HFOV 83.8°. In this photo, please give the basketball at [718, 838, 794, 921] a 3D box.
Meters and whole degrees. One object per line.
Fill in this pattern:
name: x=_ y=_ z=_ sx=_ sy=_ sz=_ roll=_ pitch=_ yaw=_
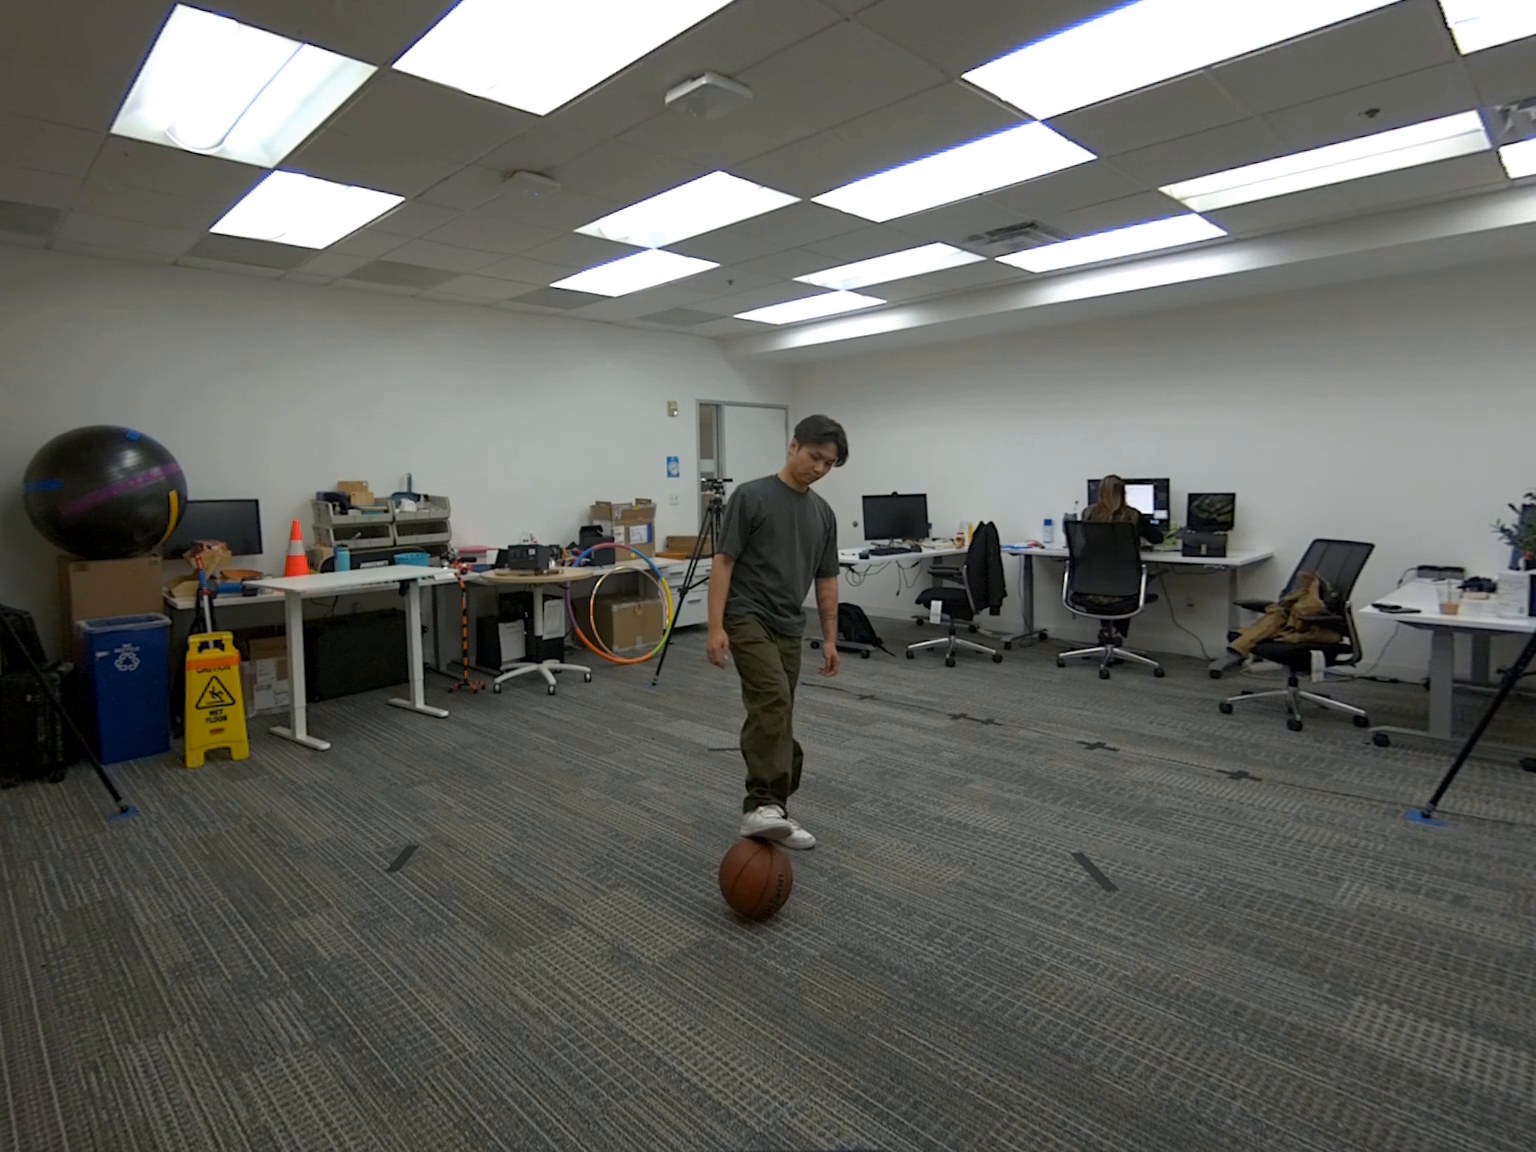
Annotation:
basketball: x=-0.036 y=0.969 z=2.746 sx=0.236 sy=0.235 sz=0.237 roll=-1 pitch=5 yaw=-2
